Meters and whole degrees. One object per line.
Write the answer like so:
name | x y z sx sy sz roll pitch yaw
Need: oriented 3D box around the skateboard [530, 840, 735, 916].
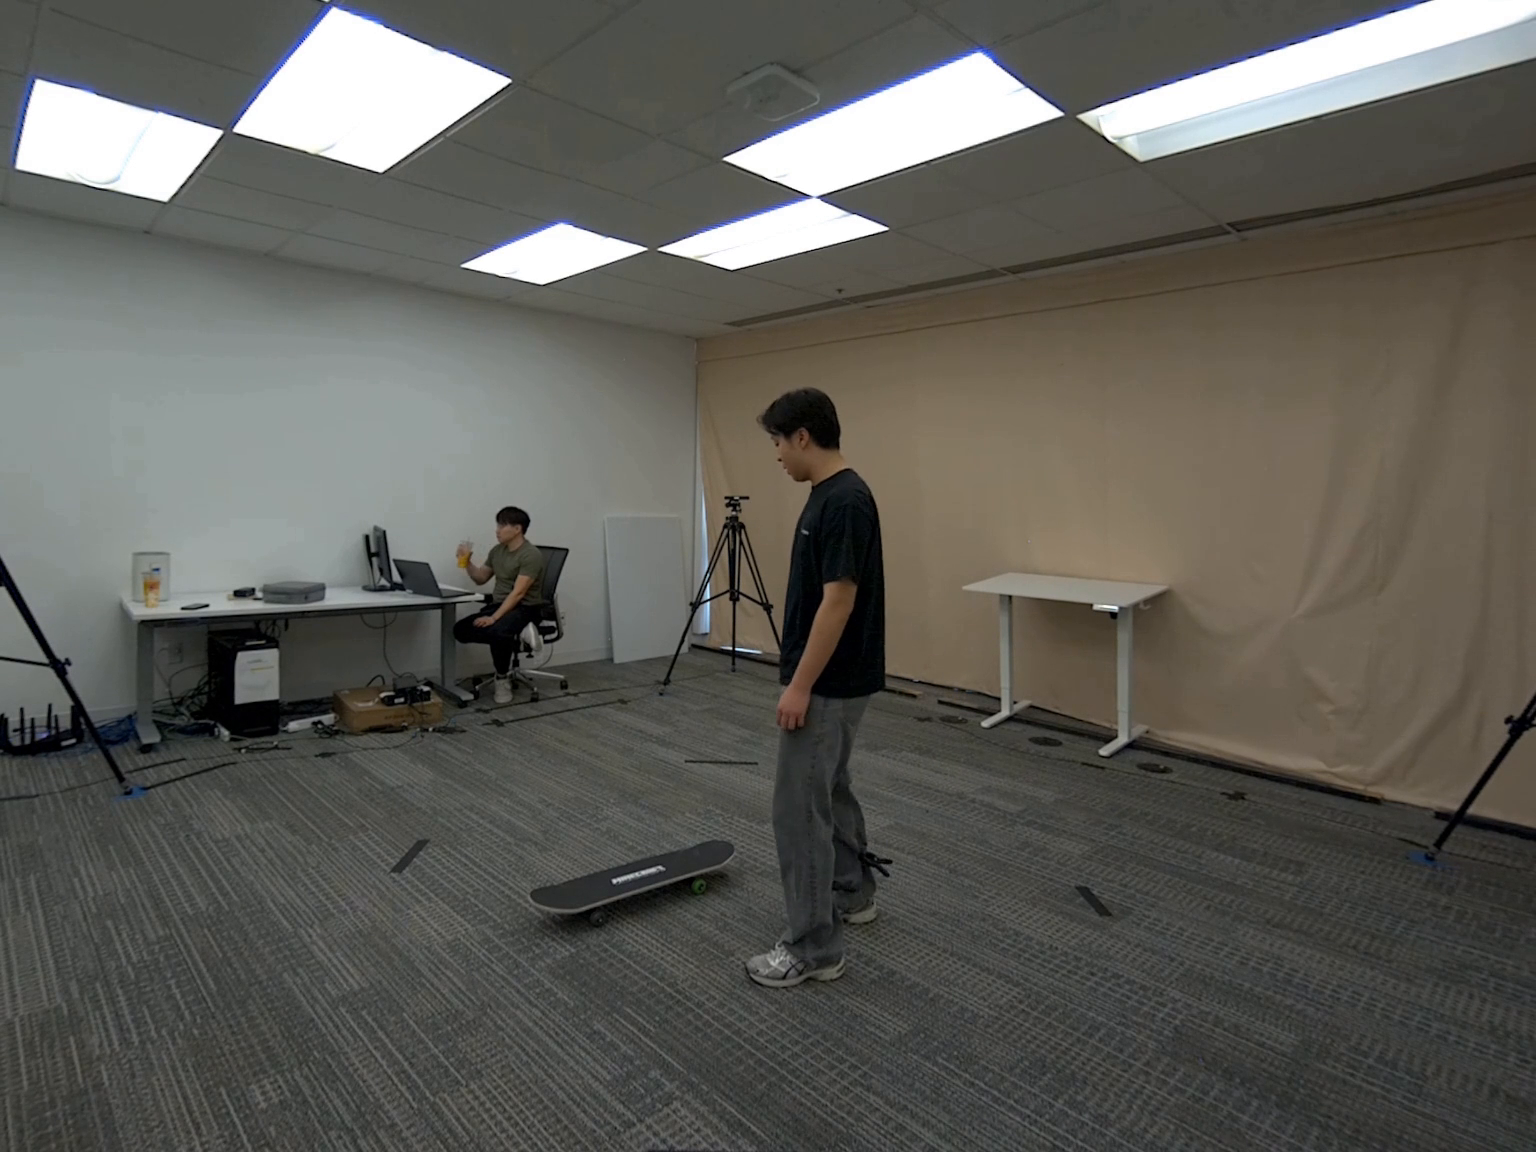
skateboard | -0.447 1.058 2.889 0.768 0.110 0.198 -3 7 -38
